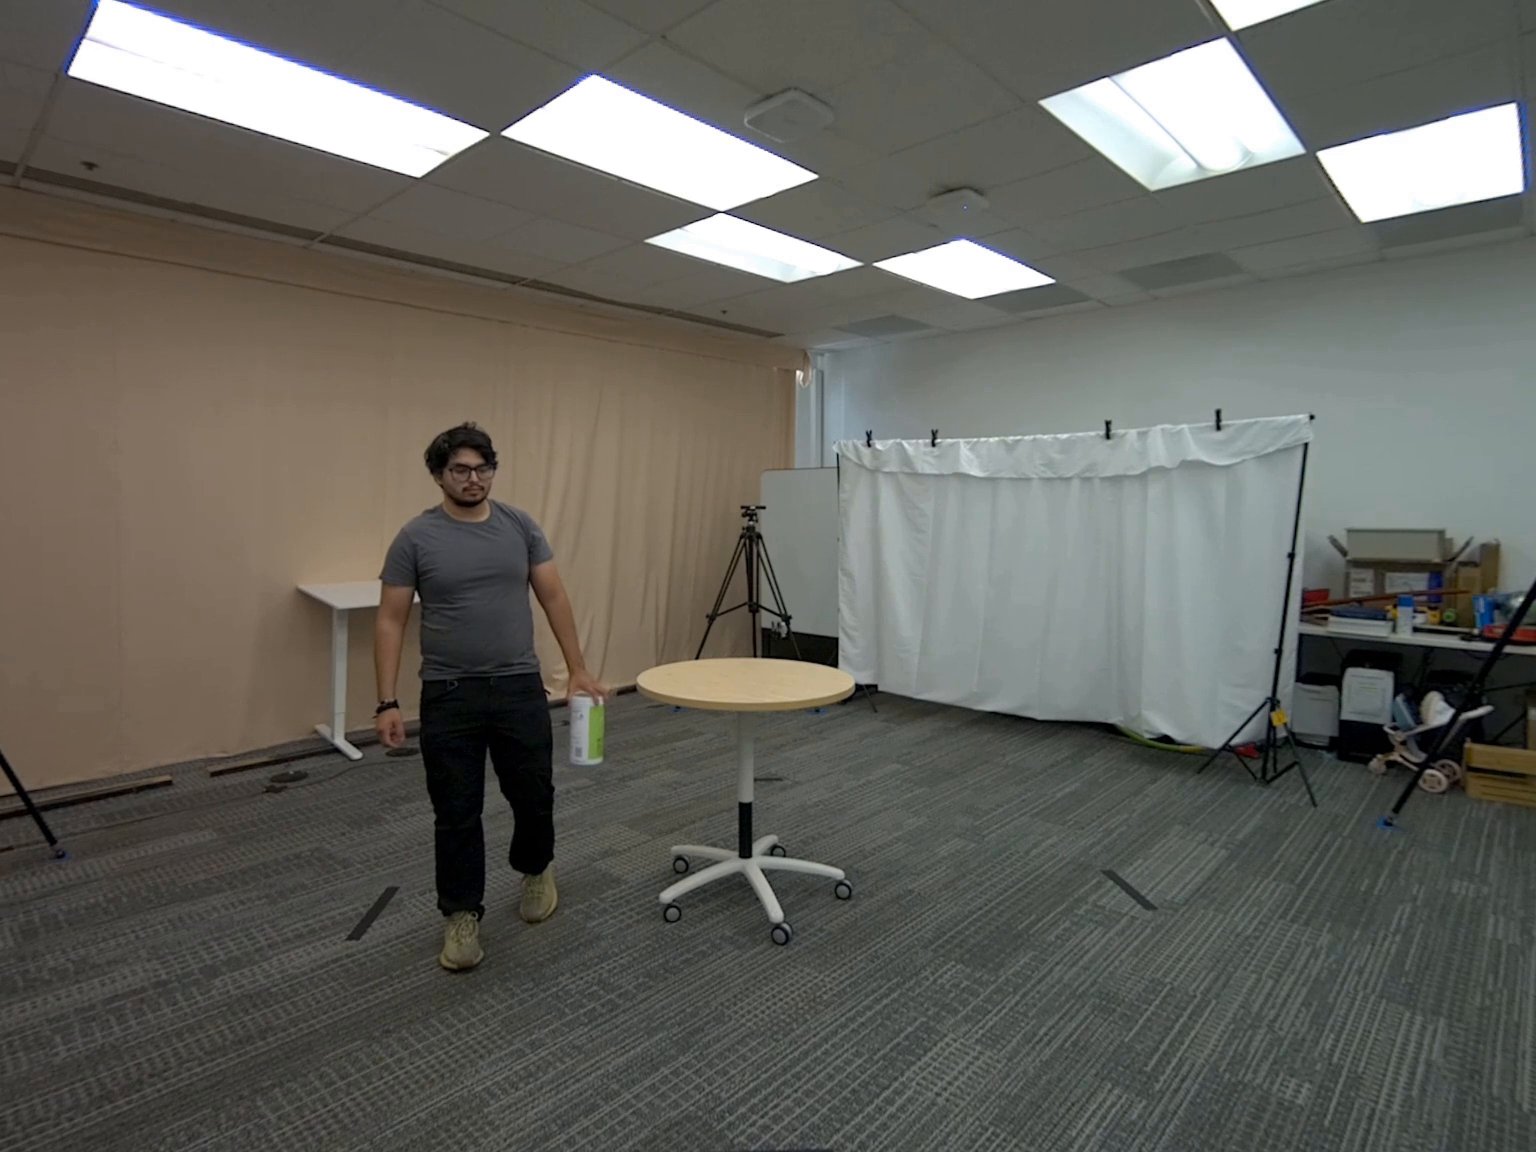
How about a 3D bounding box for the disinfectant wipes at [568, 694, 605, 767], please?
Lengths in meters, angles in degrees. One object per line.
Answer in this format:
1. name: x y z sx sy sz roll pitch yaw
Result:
1. disinfectant wipes: -0.582 0.501 2.690 0.118 0.218 0.118 1 -2 -2
